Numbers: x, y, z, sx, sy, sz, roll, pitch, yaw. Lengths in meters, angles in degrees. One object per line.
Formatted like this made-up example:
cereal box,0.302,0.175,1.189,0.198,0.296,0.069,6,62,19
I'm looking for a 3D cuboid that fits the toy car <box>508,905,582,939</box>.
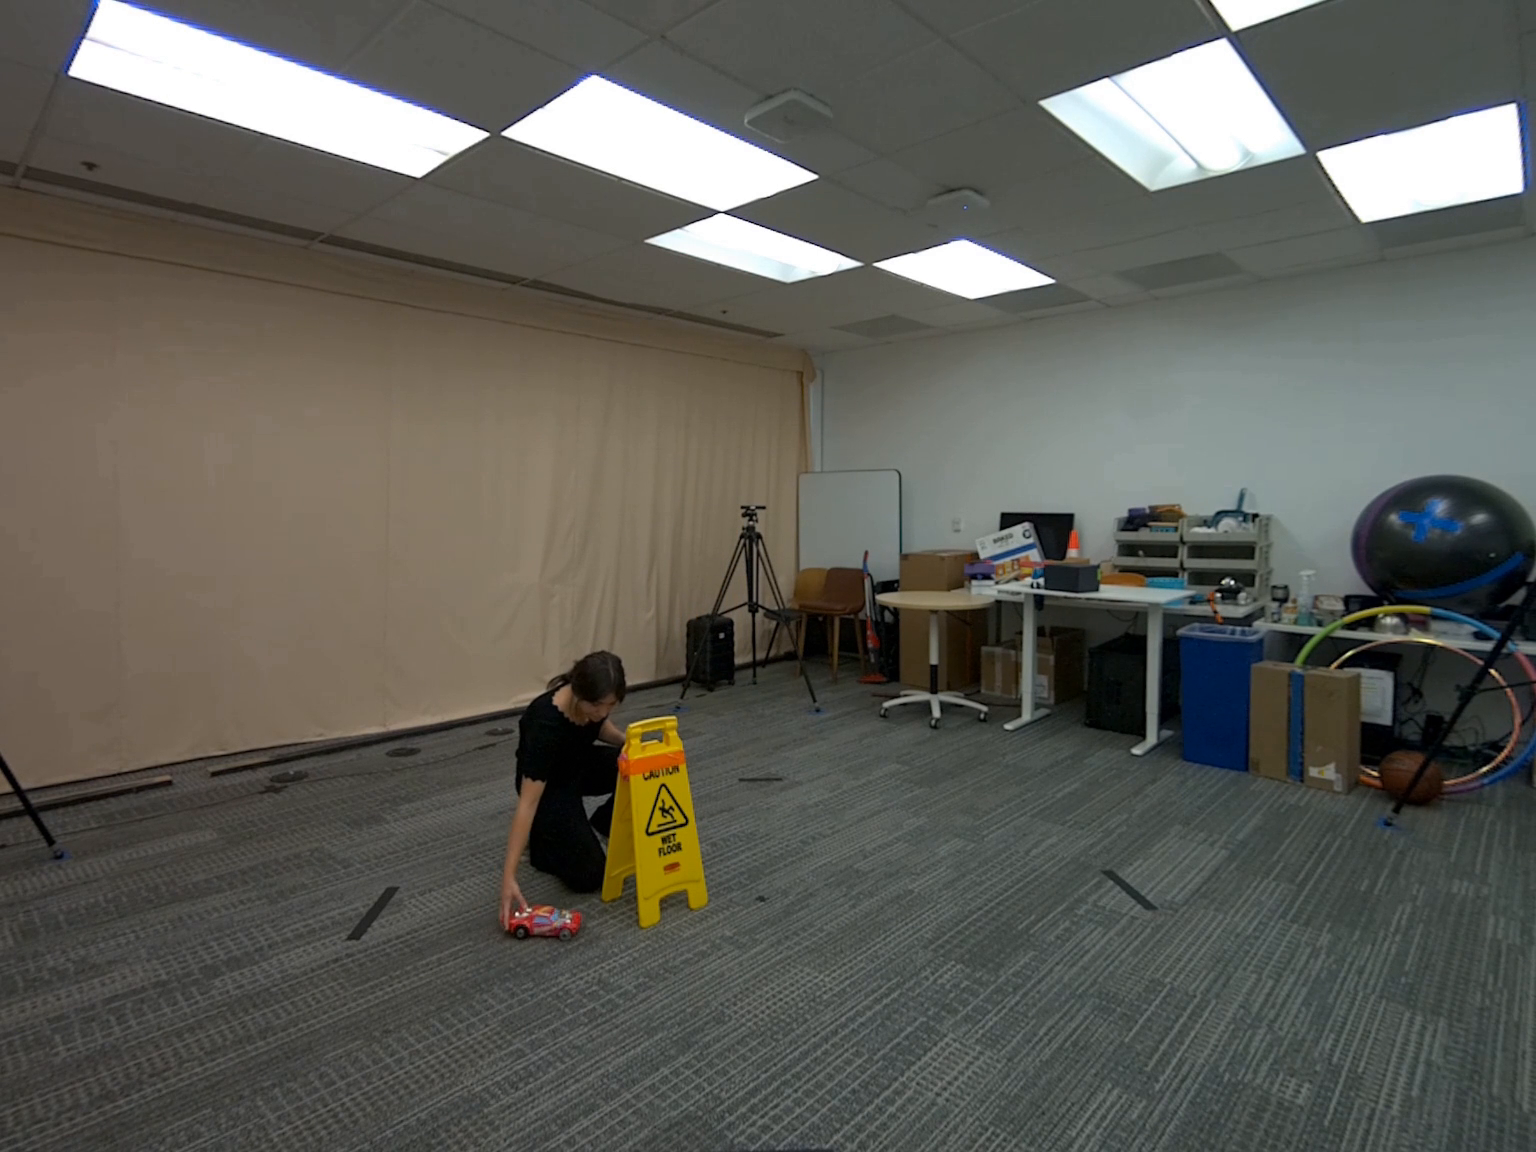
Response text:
toy car,-0.745,1.131,2.767,0.256,0.083,0.130,11,6,5
